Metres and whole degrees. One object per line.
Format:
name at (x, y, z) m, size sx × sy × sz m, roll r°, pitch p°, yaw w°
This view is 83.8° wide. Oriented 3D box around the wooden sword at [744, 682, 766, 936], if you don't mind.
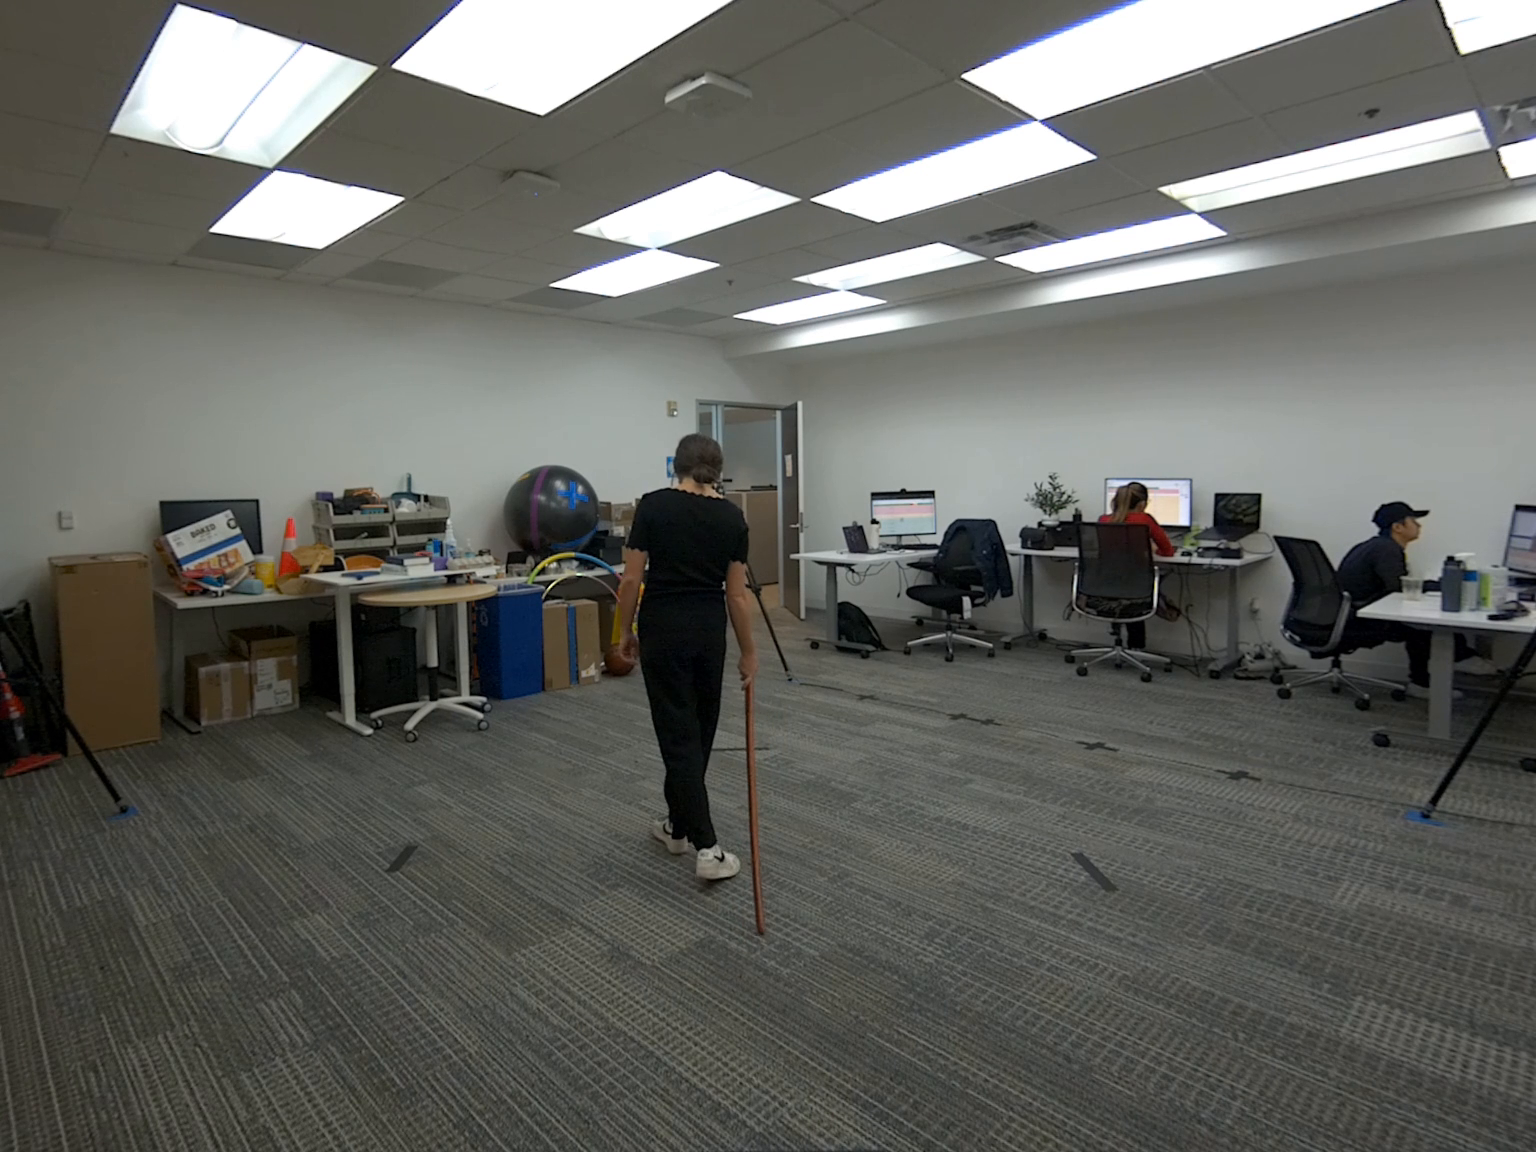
wooden sword at (-0.047, 0.690, 2.954) m, size 0.052 × 1.053 × 0.023 m, roll -32°, pitch -47°, yaw 31°
